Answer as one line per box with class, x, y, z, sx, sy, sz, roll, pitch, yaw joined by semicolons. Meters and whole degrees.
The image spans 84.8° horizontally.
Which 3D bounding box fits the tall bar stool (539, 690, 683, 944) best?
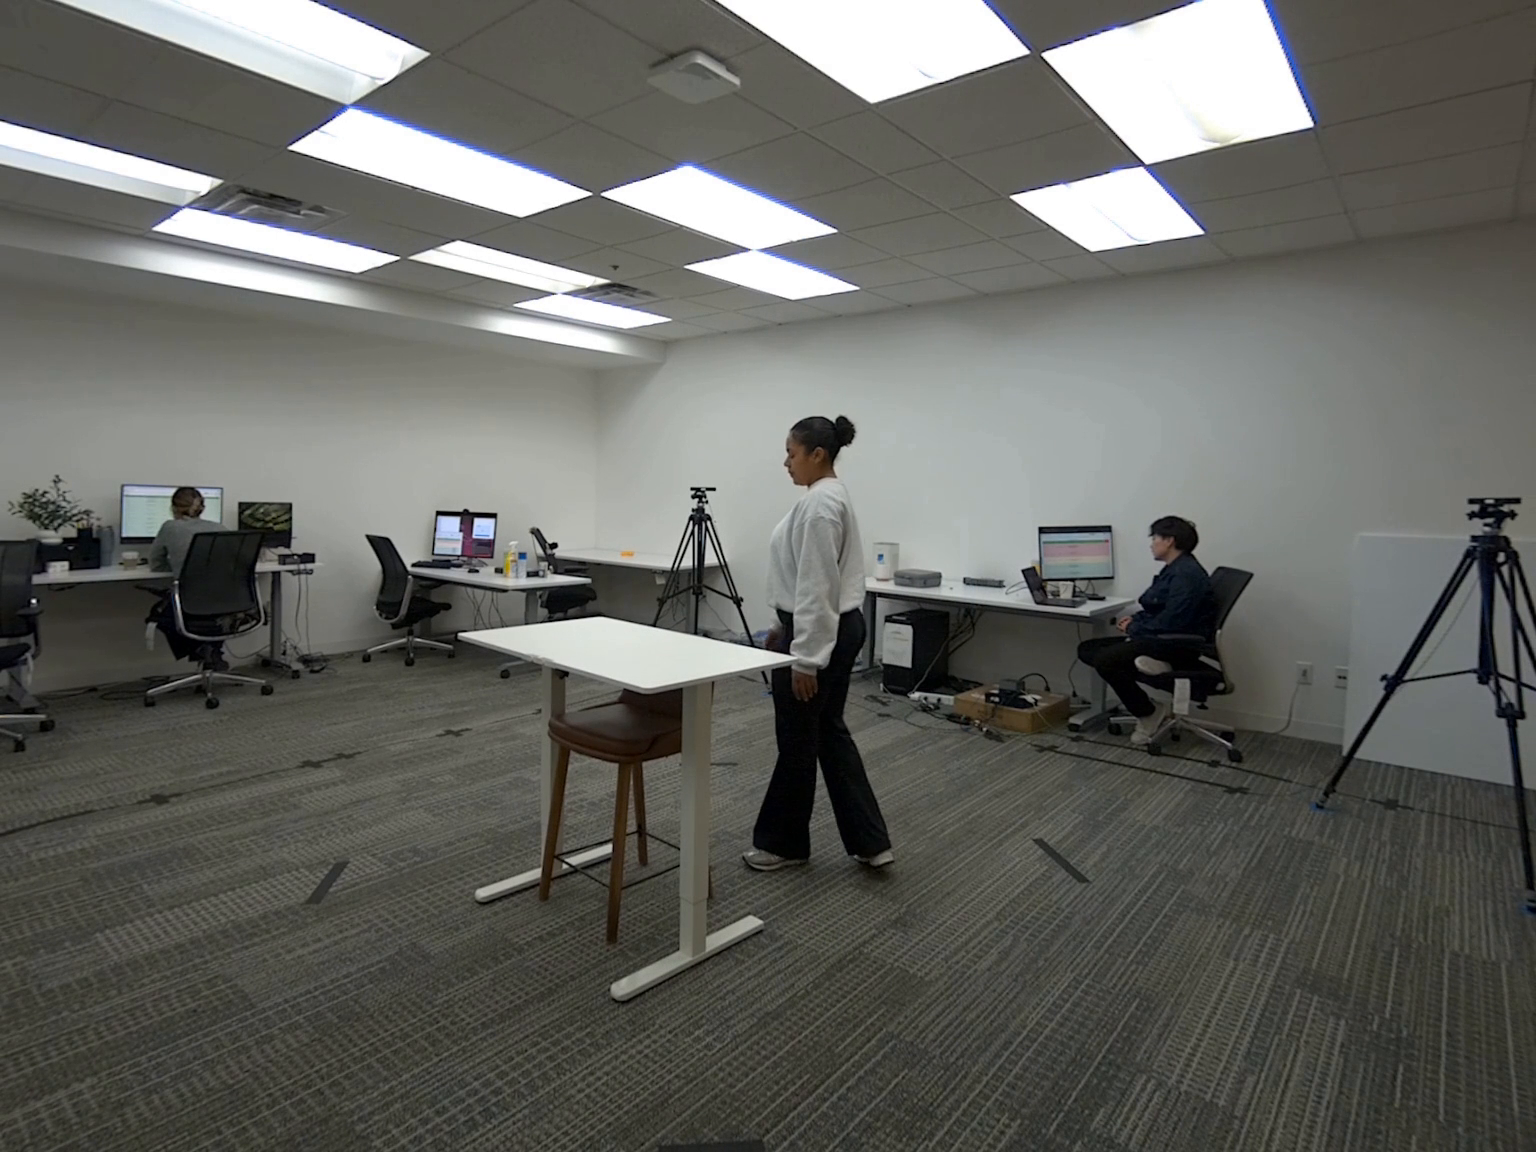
tall bar stool;-0.468;0.655;2.854;0.472;0.889;0.453;3;2;44
